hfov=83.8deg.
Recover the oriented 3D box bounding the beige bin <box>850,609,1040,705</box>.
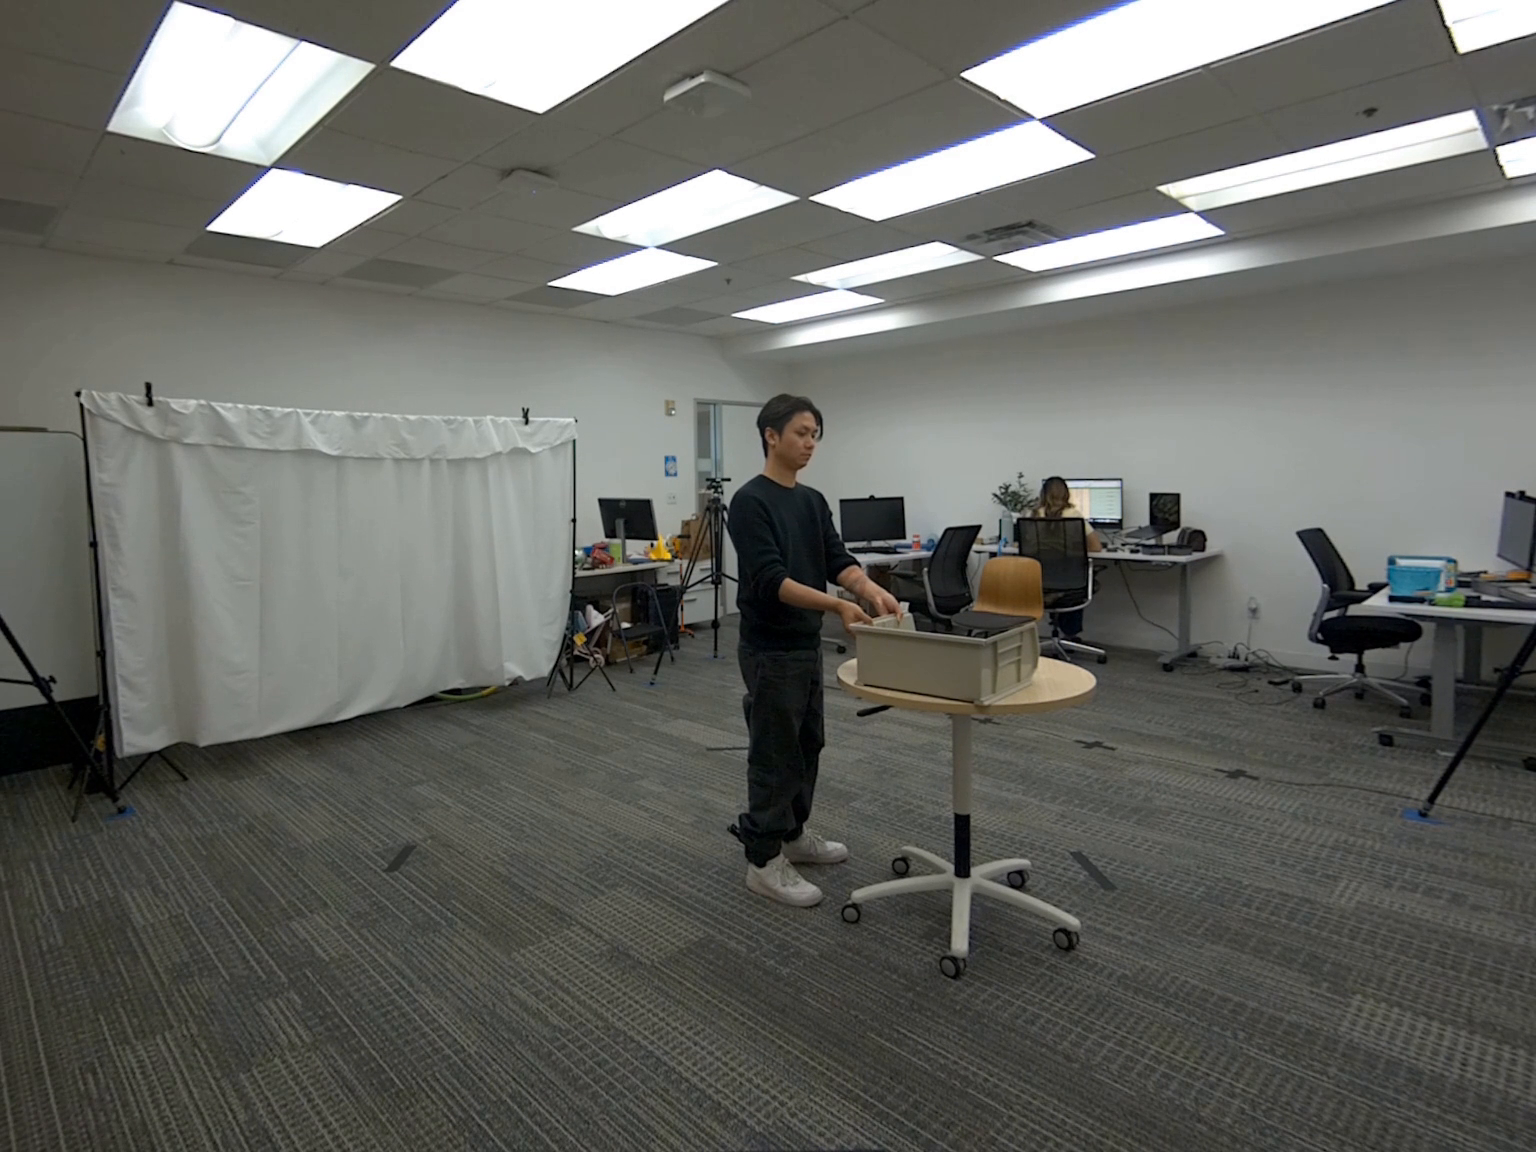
[{"bbox_3d":[0.520,0.229,2.504,0.435,0.188,0.368,5,8,40],"label":"beige bin"}]
